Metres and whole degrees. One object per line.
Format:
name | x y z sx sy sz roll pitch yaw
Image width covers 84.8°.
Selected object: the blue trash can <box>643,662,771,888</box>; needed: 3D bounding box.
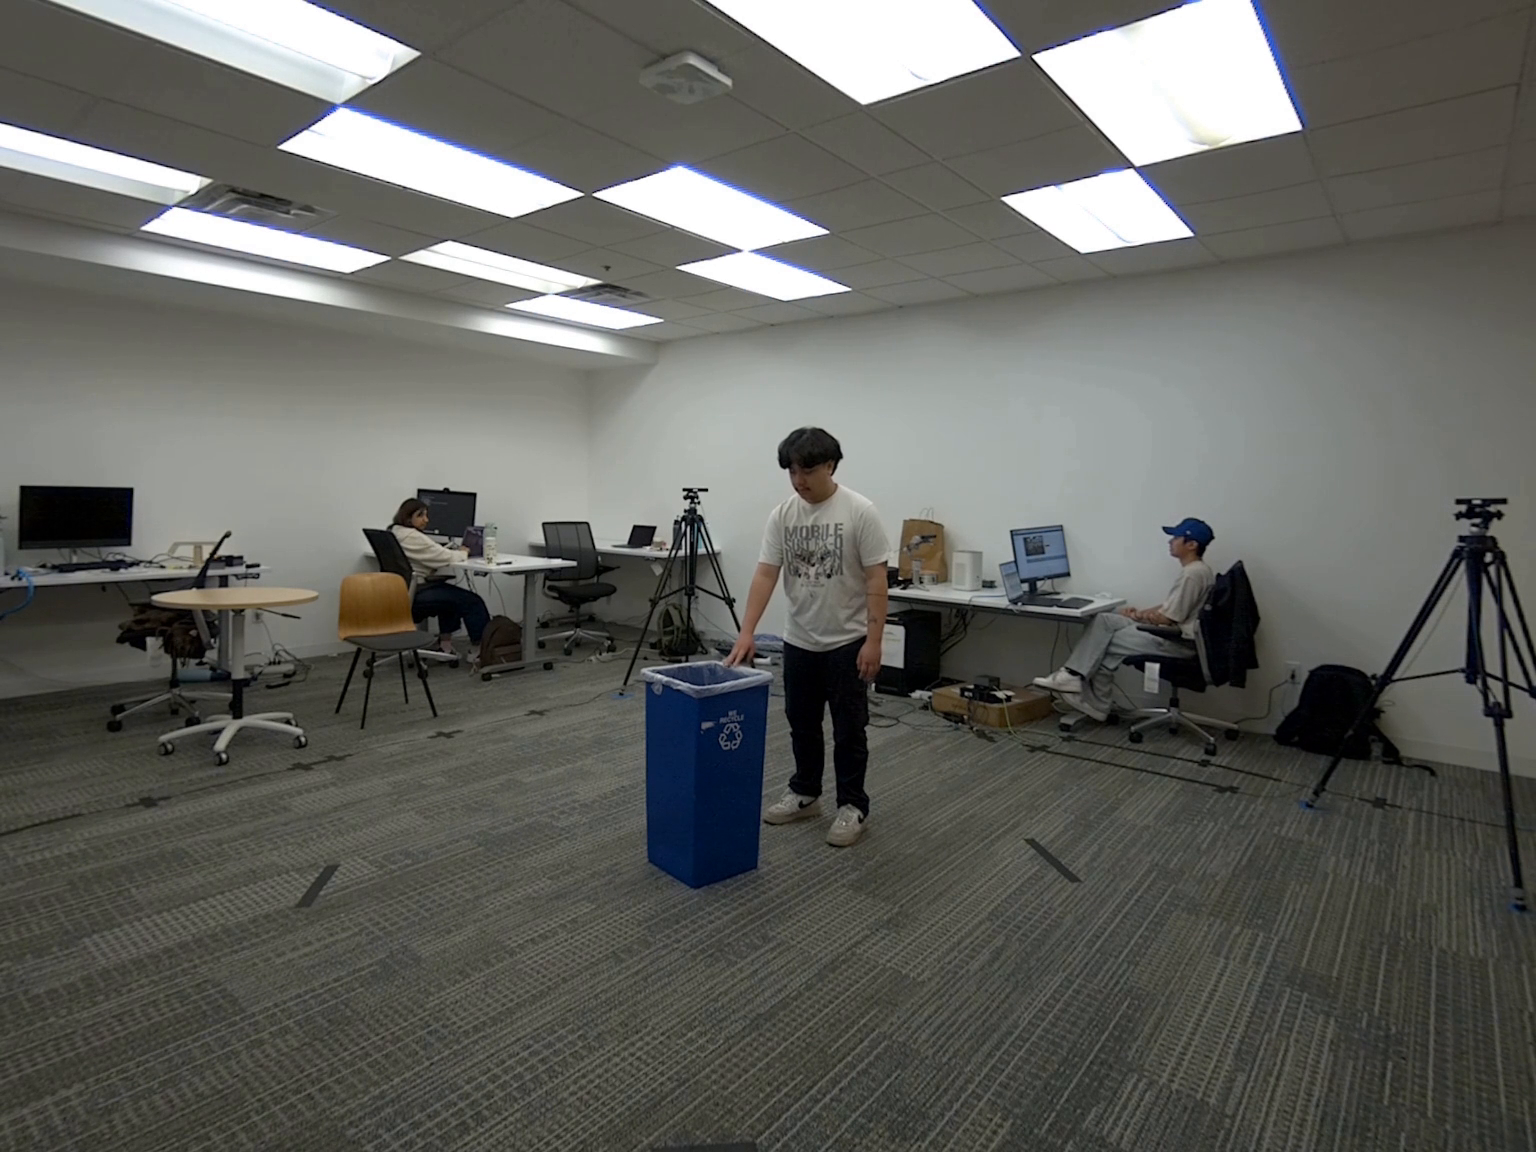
blue trash can | -0.240 0.708 3.145 0.363 0.711 0.391 -2 4 -41
